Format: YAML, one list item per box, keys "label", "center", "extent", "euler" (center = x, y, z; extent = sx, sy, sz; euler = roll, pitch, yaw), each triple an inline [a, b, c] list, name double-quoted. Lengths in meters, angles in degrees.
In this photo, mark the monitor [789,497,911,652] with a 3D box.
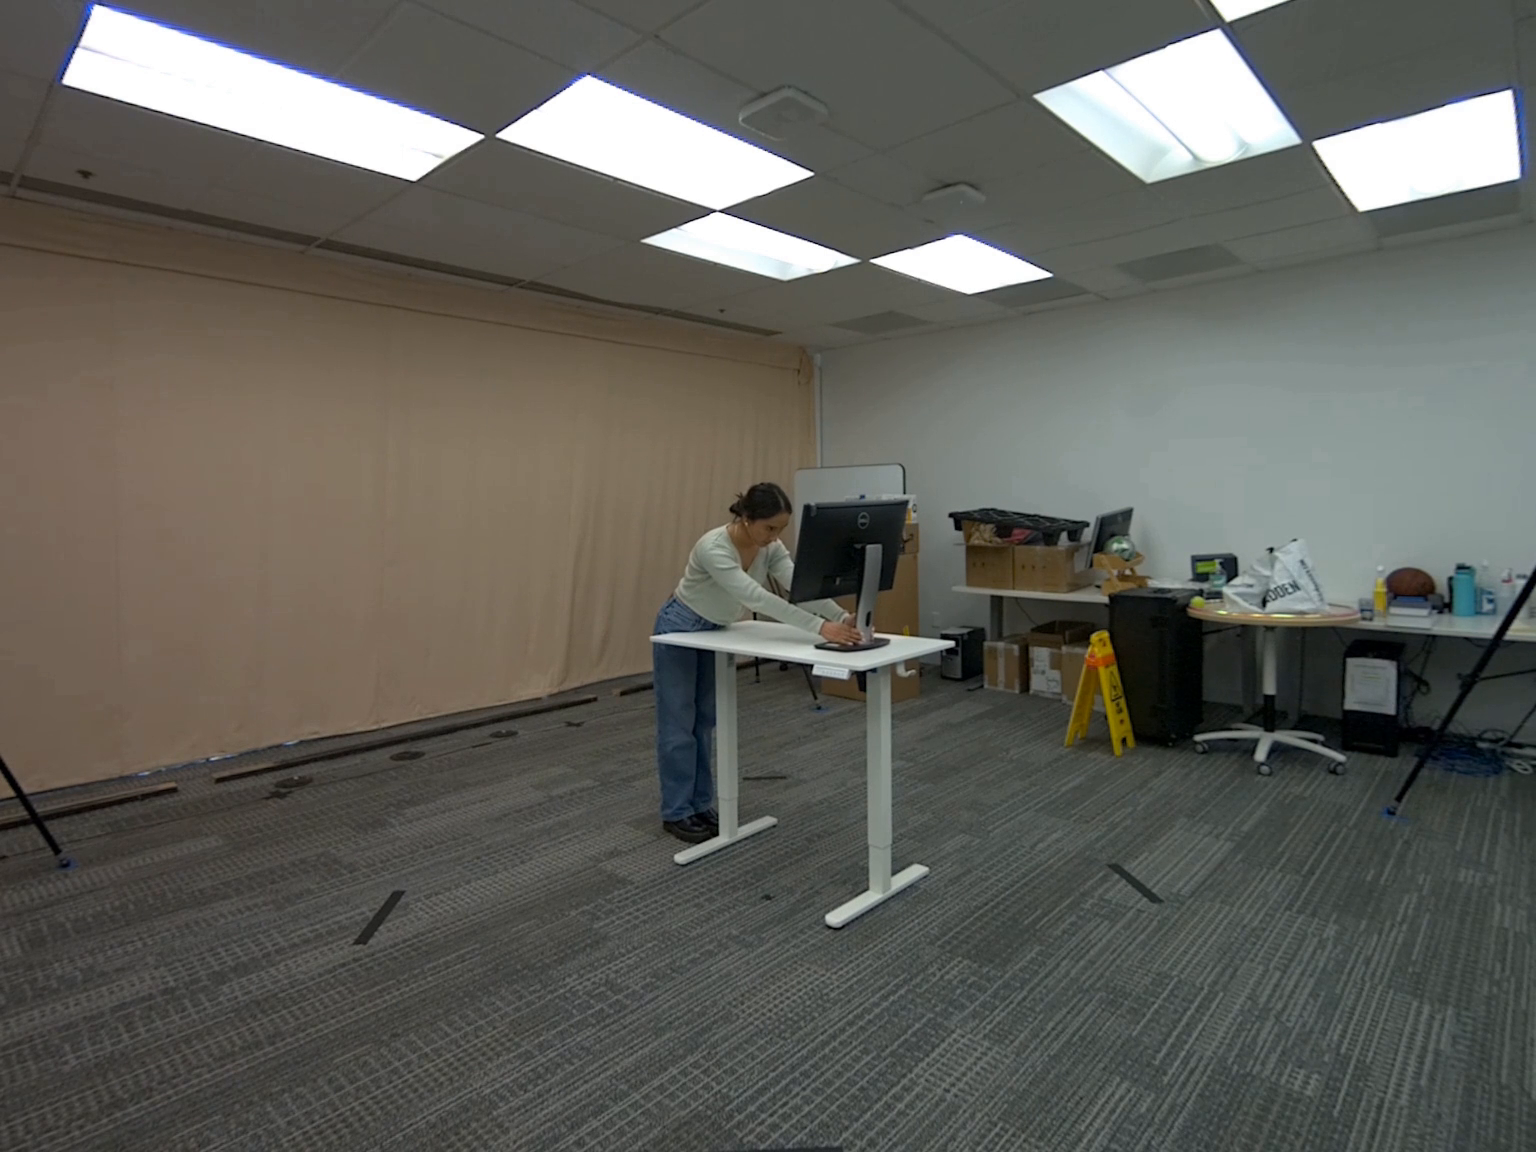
- label: "monitor"
  center: [0.323, -0.004, 2.970]
  extent: [0.523, 0.521, 0.193]
  euler: [-5, 6, -40]
